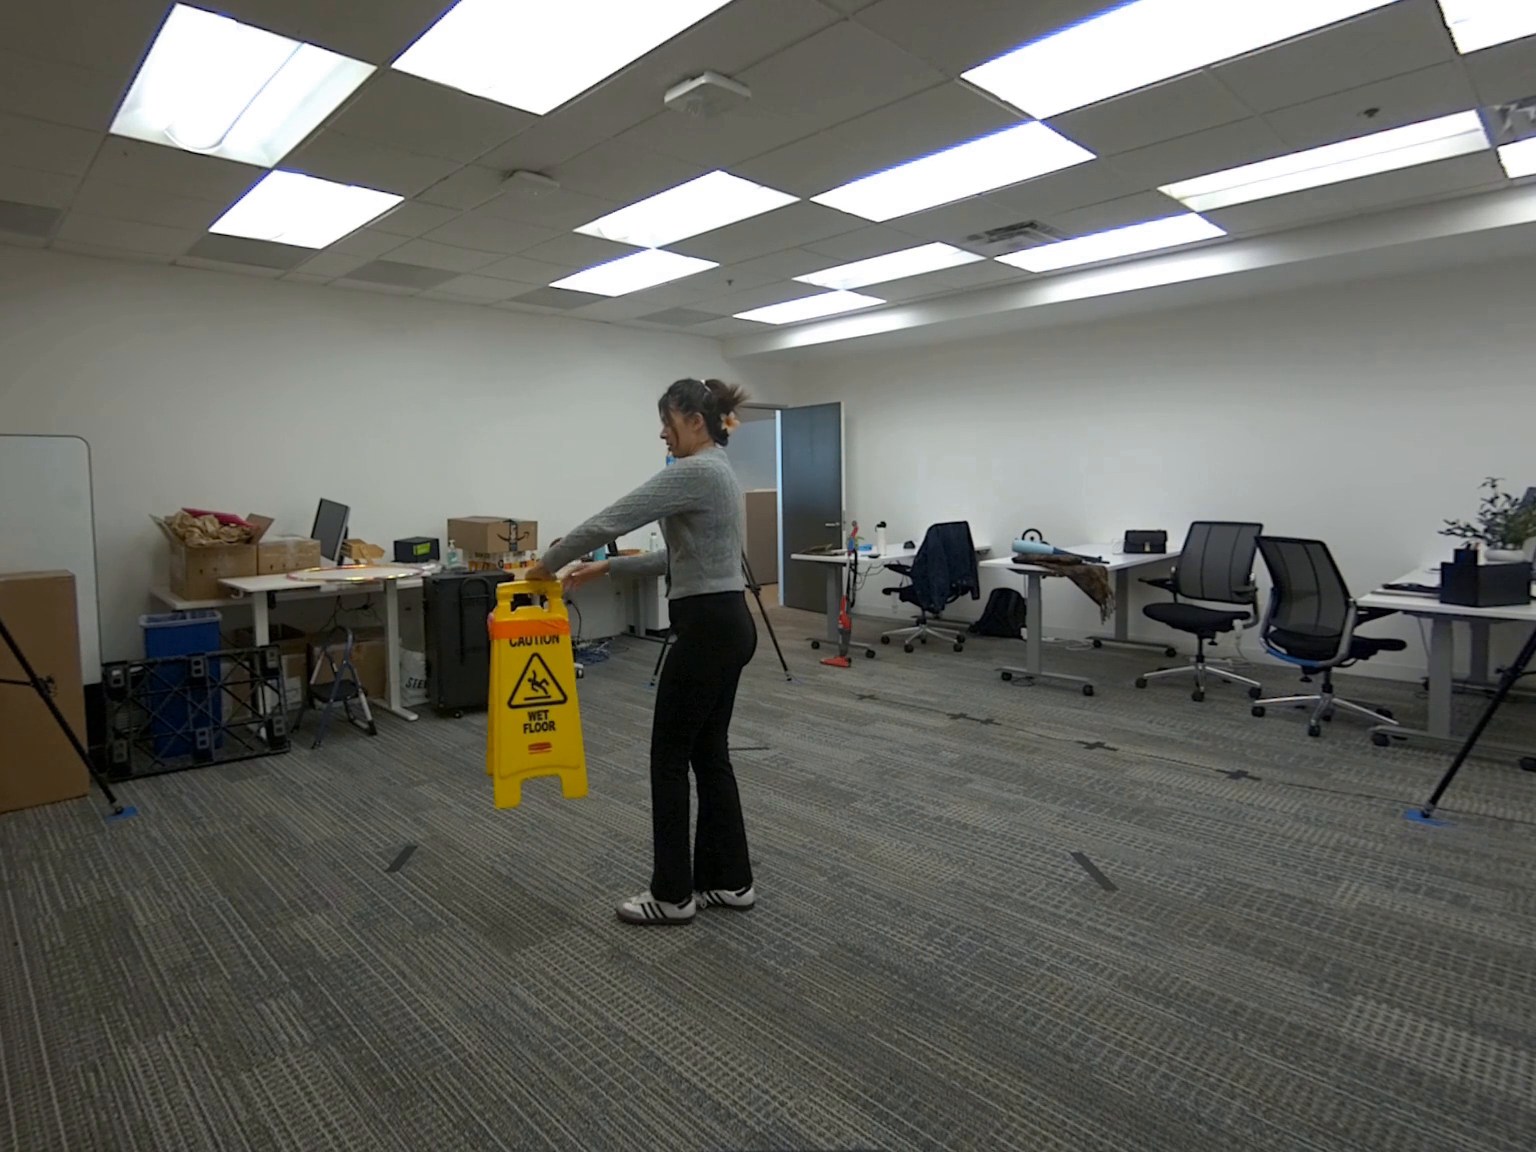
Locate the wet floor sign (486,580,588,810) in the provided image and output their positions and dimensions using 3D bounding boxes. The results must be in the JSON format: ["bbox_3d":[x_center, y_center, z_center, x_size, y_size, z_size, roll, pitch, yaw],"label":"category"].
[{"bbox_3d":[-0.727,0.337,2.657,0.277,0.644,0.296,-2,5,-22],"label":"wet floor sign"}]
